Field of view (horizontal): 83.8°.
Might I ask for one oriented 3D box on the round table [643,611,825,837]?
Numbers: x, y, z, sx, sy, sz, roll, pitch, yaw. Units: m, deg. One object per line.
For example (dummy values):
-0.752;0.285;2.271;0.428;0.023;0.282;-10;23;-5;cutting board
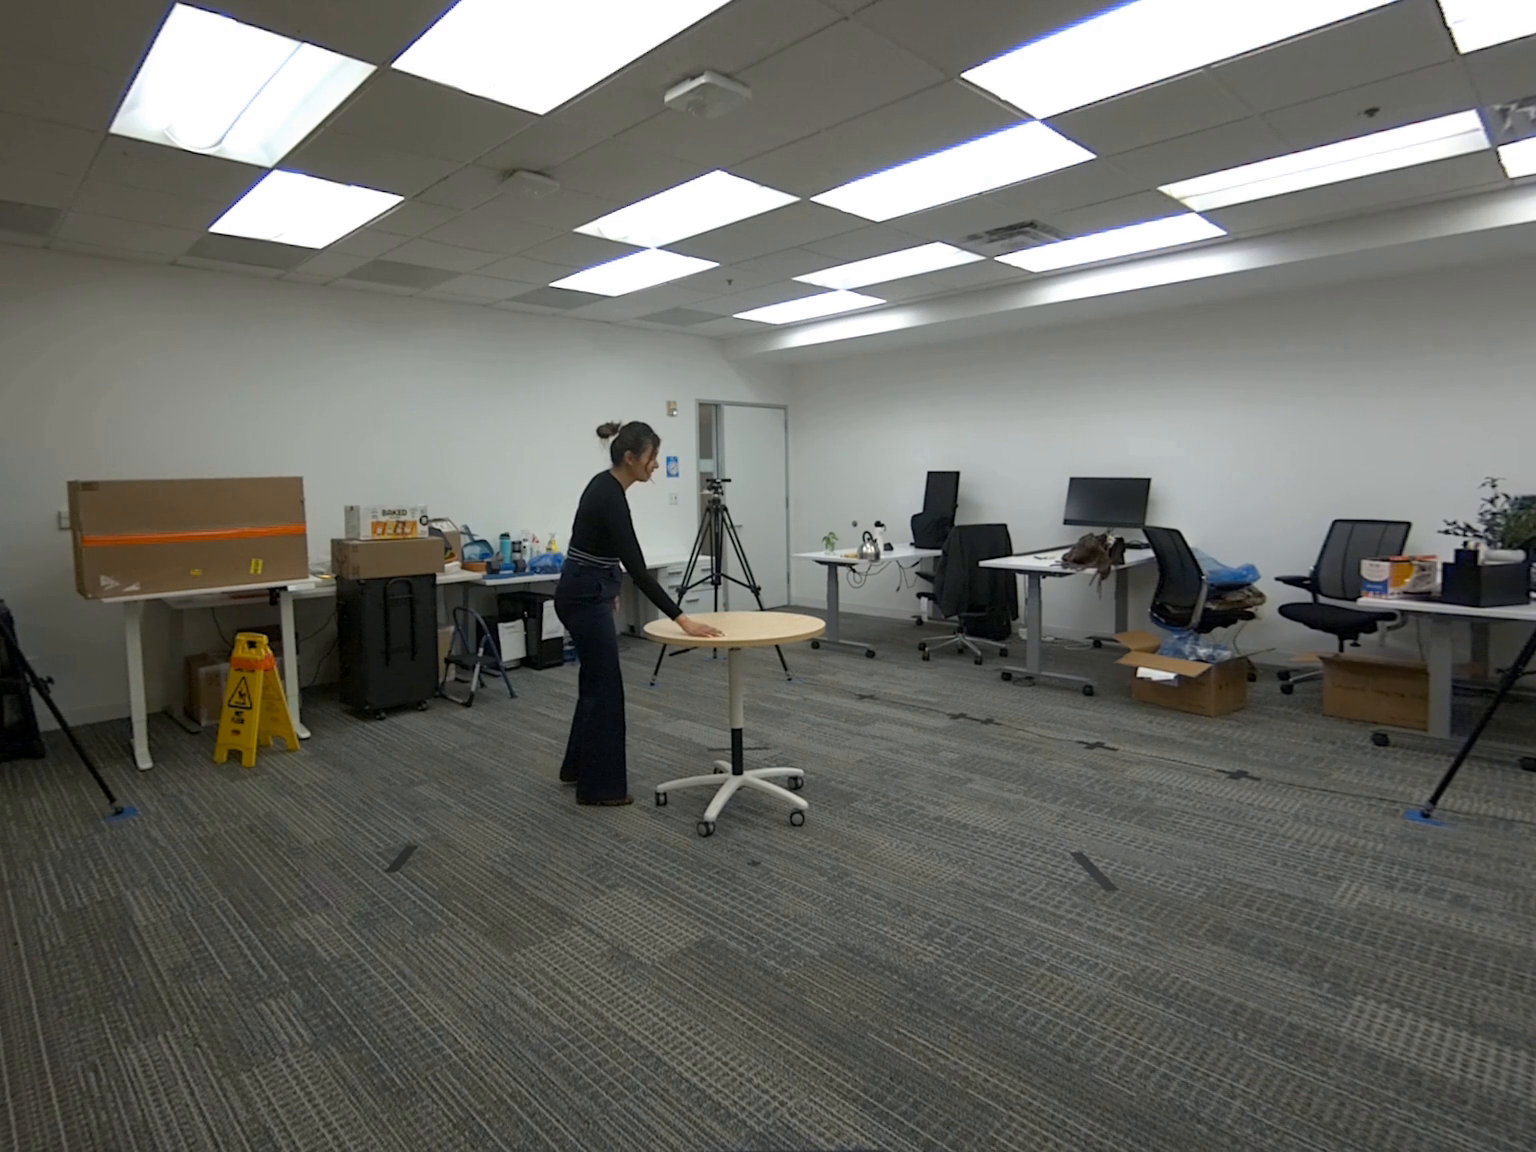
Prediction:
-0.131;0.600;3.629;0.763;0.791;0.767;-2;4;-2;round table
